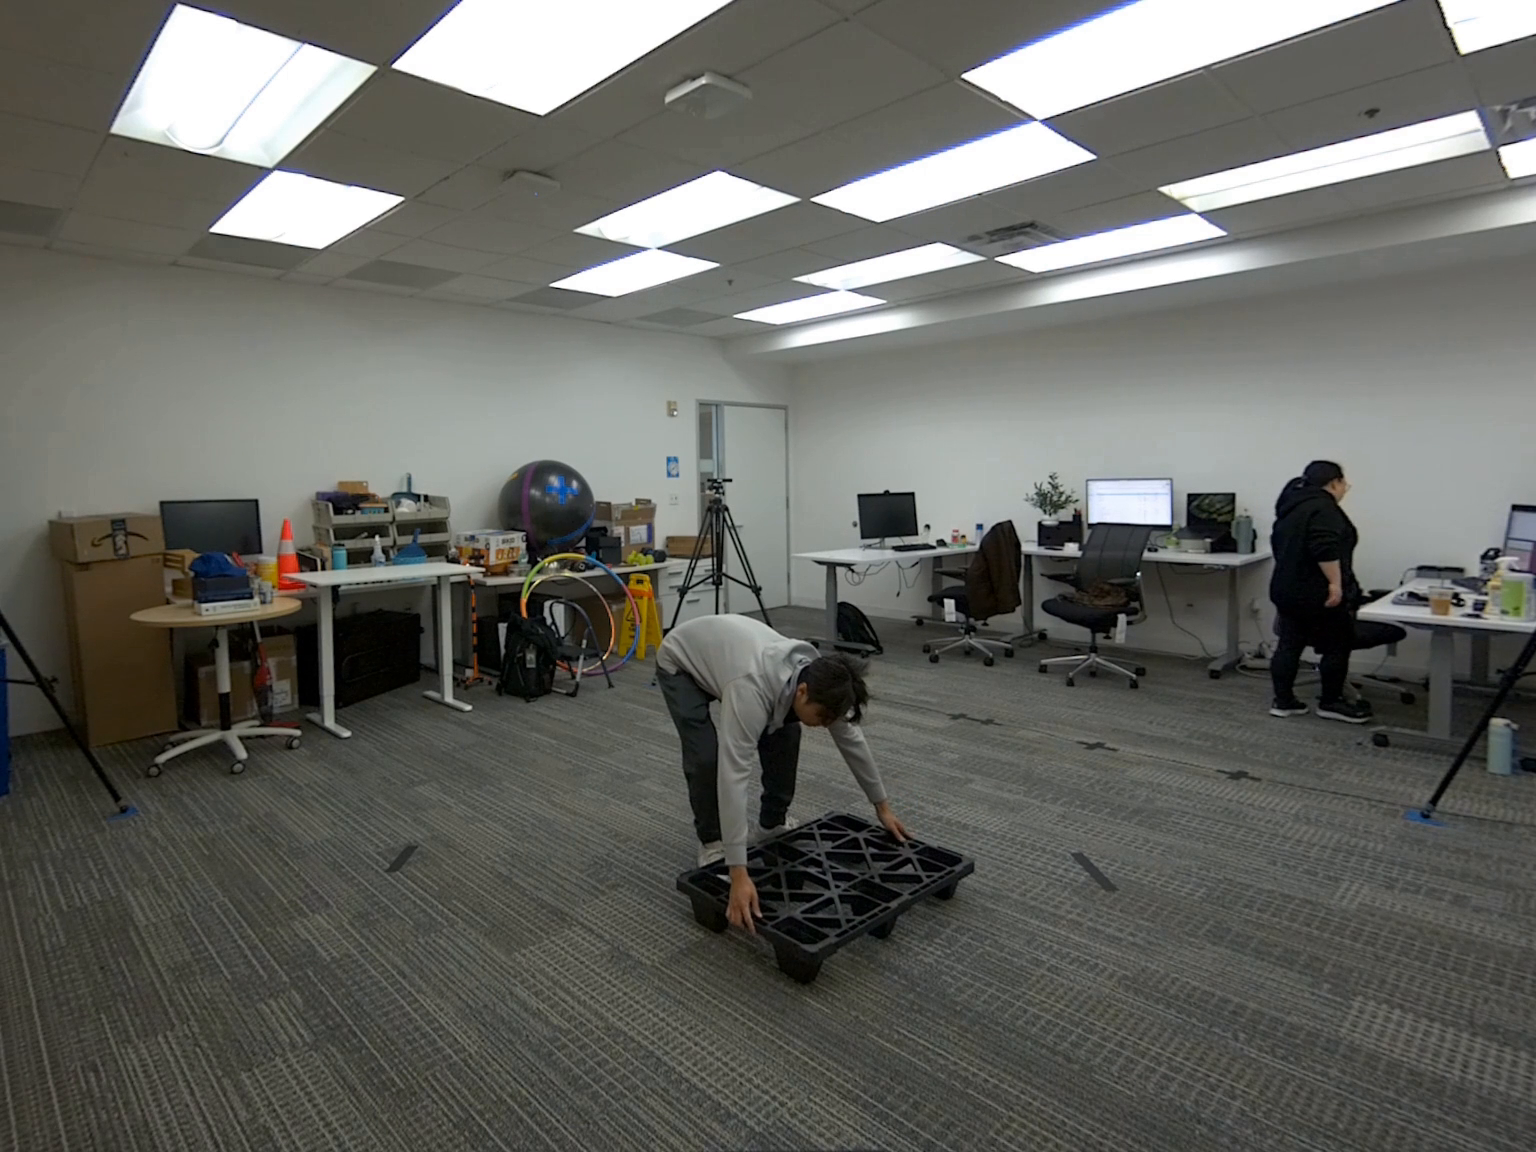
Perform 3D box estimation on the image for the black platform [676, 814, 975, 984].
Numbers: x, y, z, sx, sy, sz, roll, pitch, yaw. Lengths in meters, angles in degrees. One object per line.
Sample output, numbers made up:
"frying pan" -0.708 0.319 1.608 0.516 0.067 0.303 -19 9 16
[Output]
"black platform" 0.196 1.011 2.766 0.785 0.142 0.624 -7 10 -42
